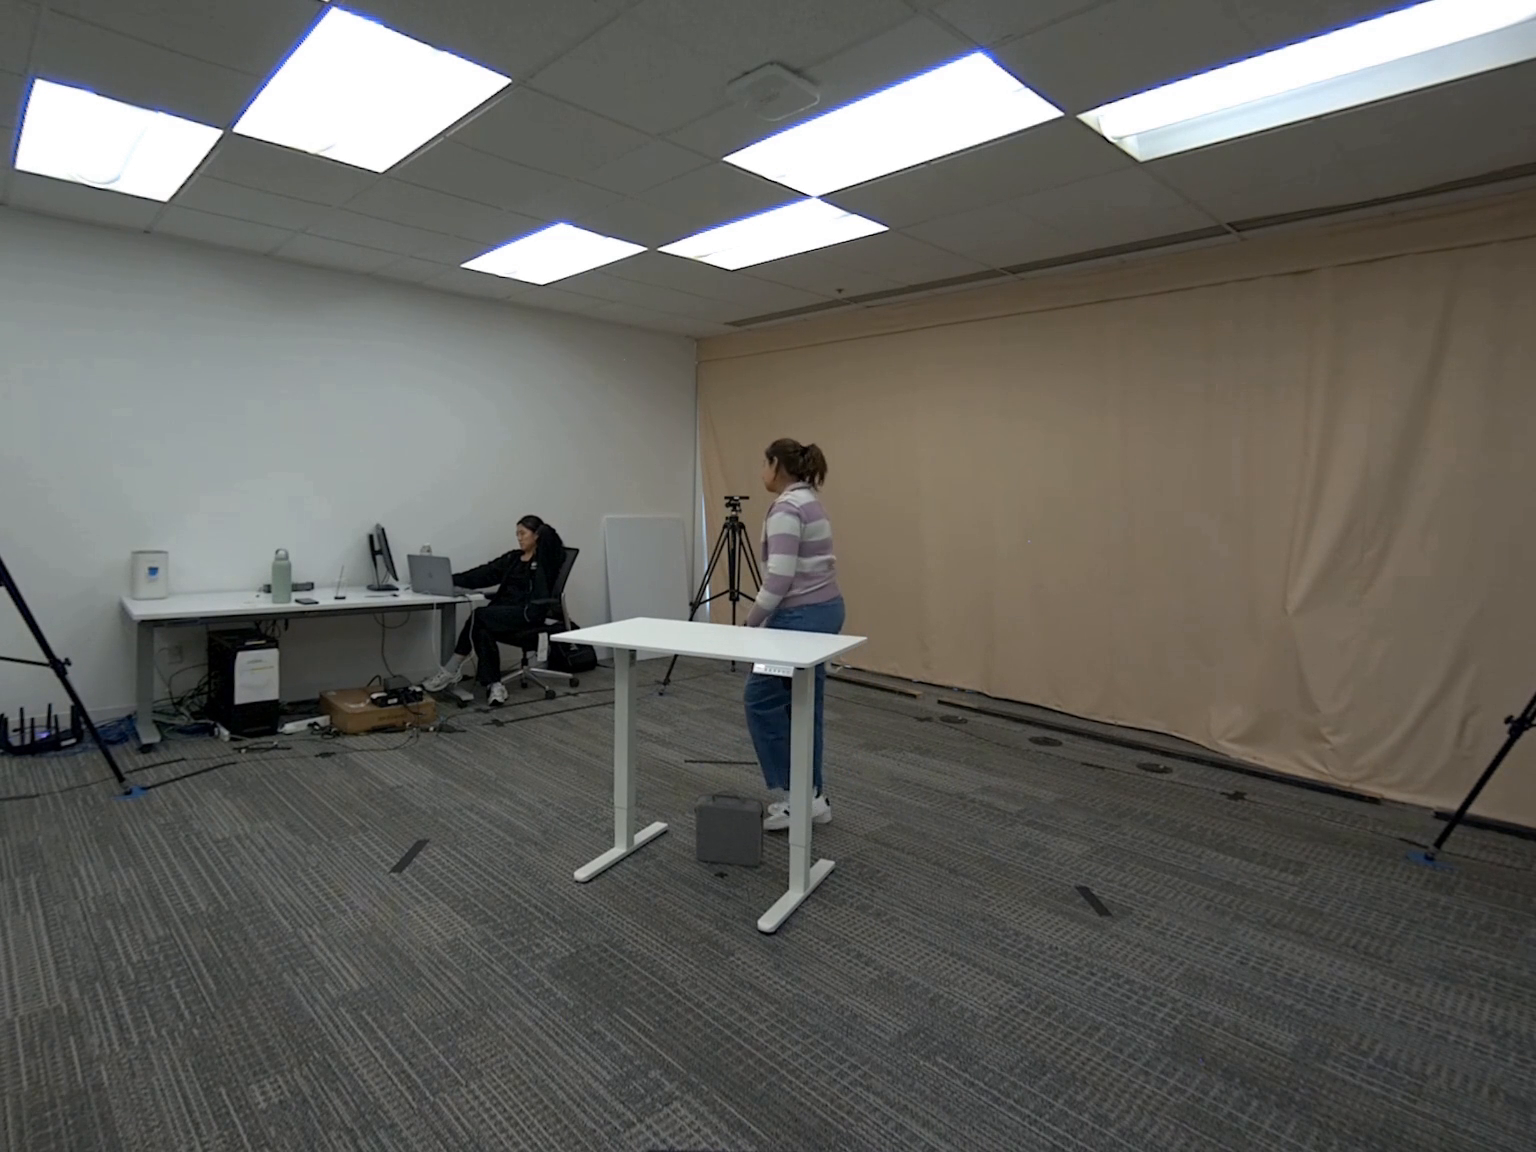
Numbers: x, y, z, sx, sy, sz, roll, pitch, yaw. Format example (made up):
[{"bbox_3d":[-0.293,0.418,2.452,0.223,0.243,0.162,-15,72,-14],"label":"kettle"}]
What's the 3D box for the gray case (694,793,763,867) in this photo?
[{"bbox_3d":[-0.145,0.963,3.203,0.258,0.258,0.104,0,11,8],"label":"gray case"}]
